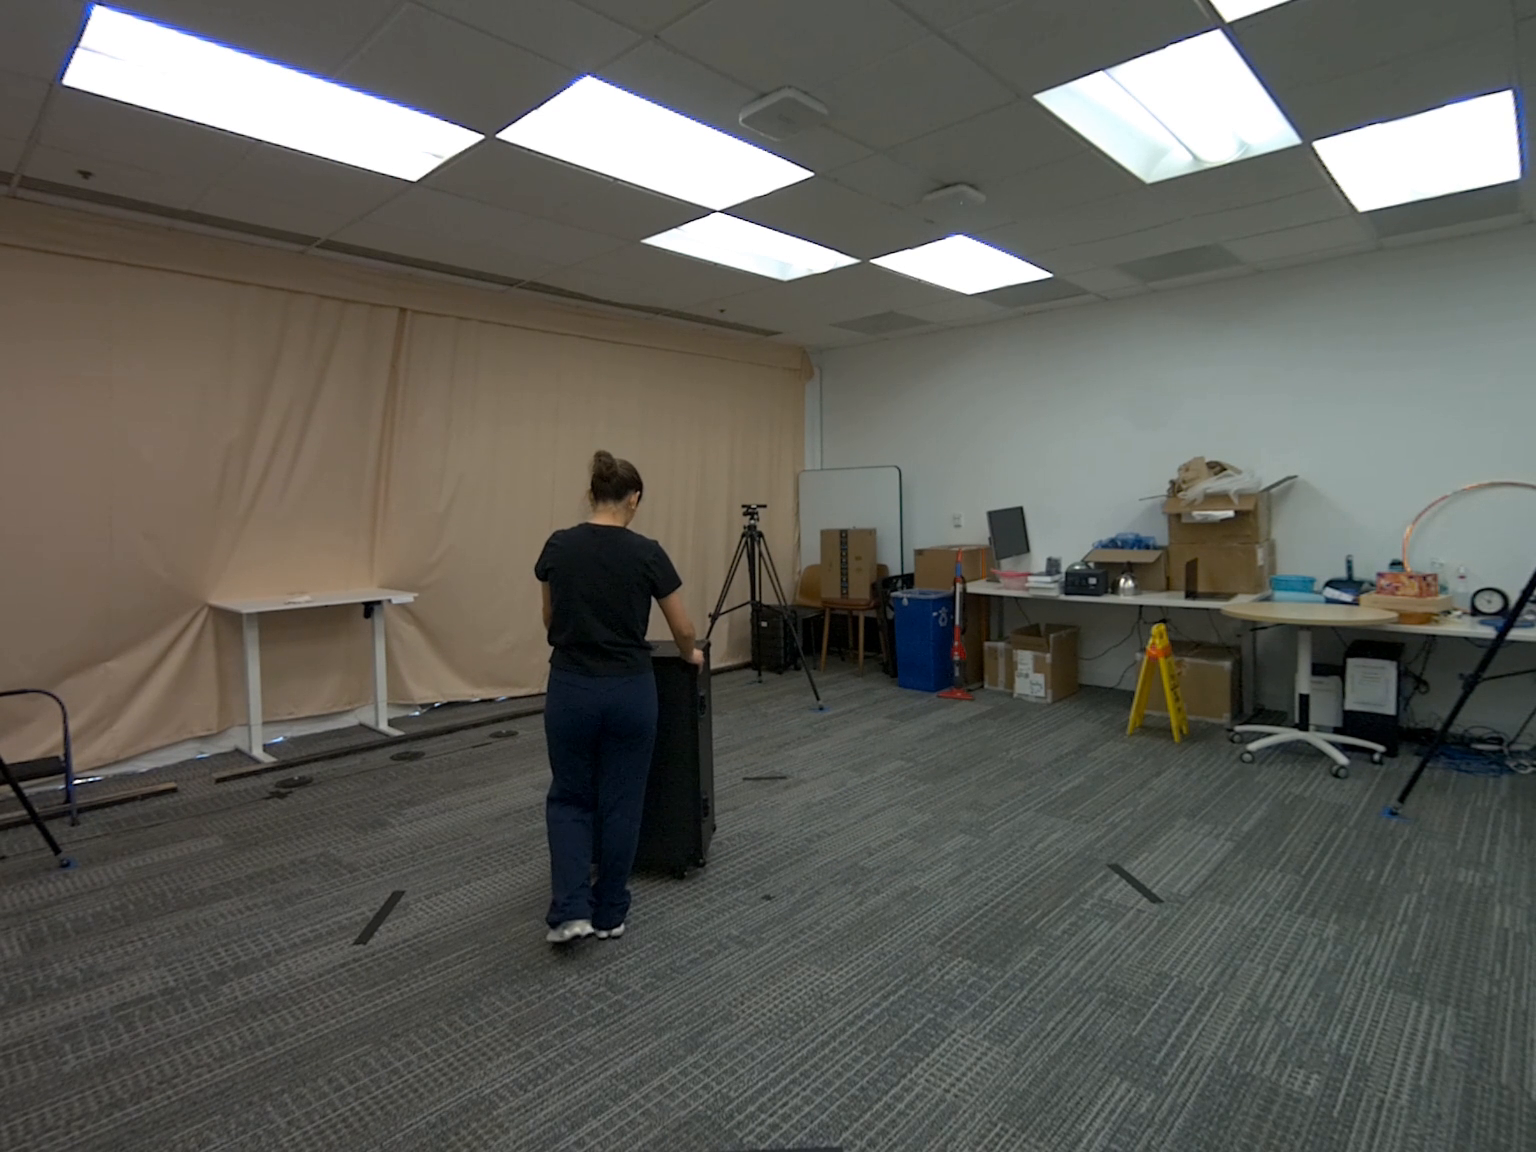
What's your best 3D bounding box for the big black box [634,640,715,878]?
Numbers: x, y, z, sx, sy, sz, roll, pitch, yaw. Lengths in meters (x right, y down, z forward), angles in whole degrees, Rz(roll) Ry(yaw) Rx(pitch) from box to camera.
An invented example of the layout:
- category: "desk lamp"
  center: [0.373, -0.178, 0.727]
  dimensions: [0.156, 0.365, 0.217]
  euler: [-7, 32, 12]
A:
- category: "big black box"
  center: [-0.464, 0.700, 3.278]
  dimensions: [0.525, 0.860, 0.394]
  euler: [-1, 3, 6]
